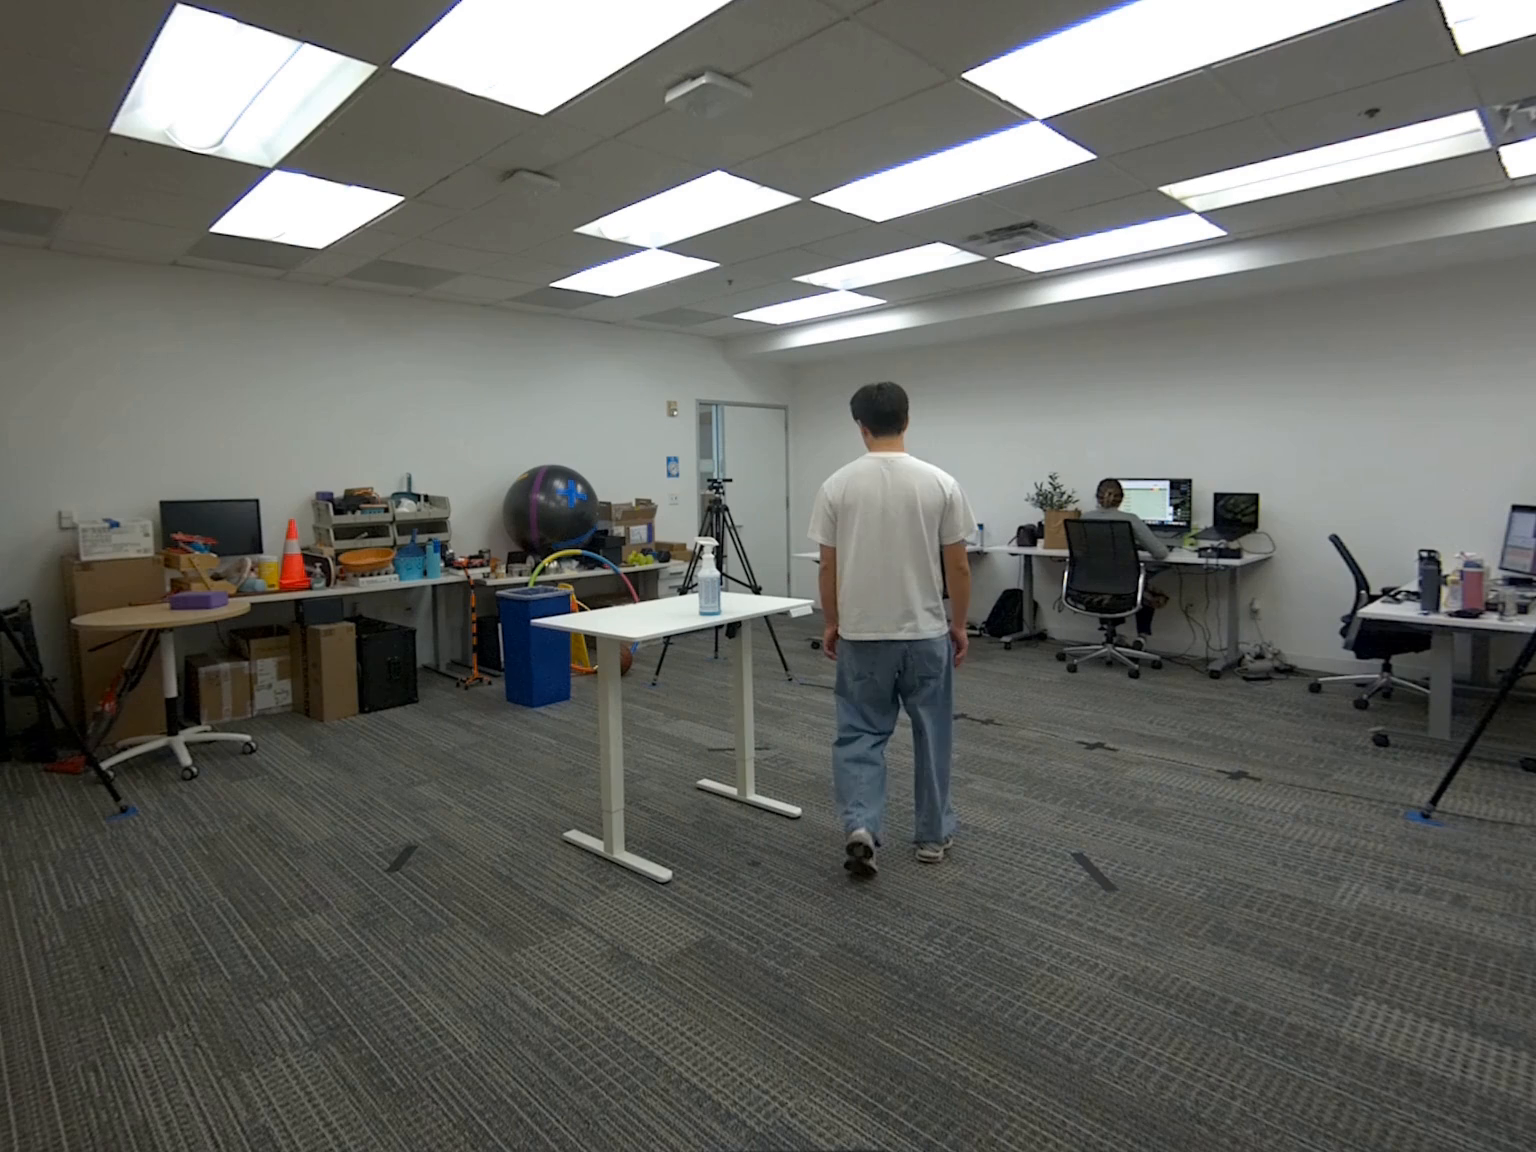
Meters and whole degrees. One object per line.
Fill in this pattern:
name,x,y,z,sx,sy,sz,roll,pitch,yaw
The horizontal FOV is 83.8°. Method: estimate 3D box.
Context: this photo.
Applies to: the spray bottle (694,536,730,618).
spray bottle,-0.213,0.000,3.262,0.092,0.296,0.085,-1,3,29
